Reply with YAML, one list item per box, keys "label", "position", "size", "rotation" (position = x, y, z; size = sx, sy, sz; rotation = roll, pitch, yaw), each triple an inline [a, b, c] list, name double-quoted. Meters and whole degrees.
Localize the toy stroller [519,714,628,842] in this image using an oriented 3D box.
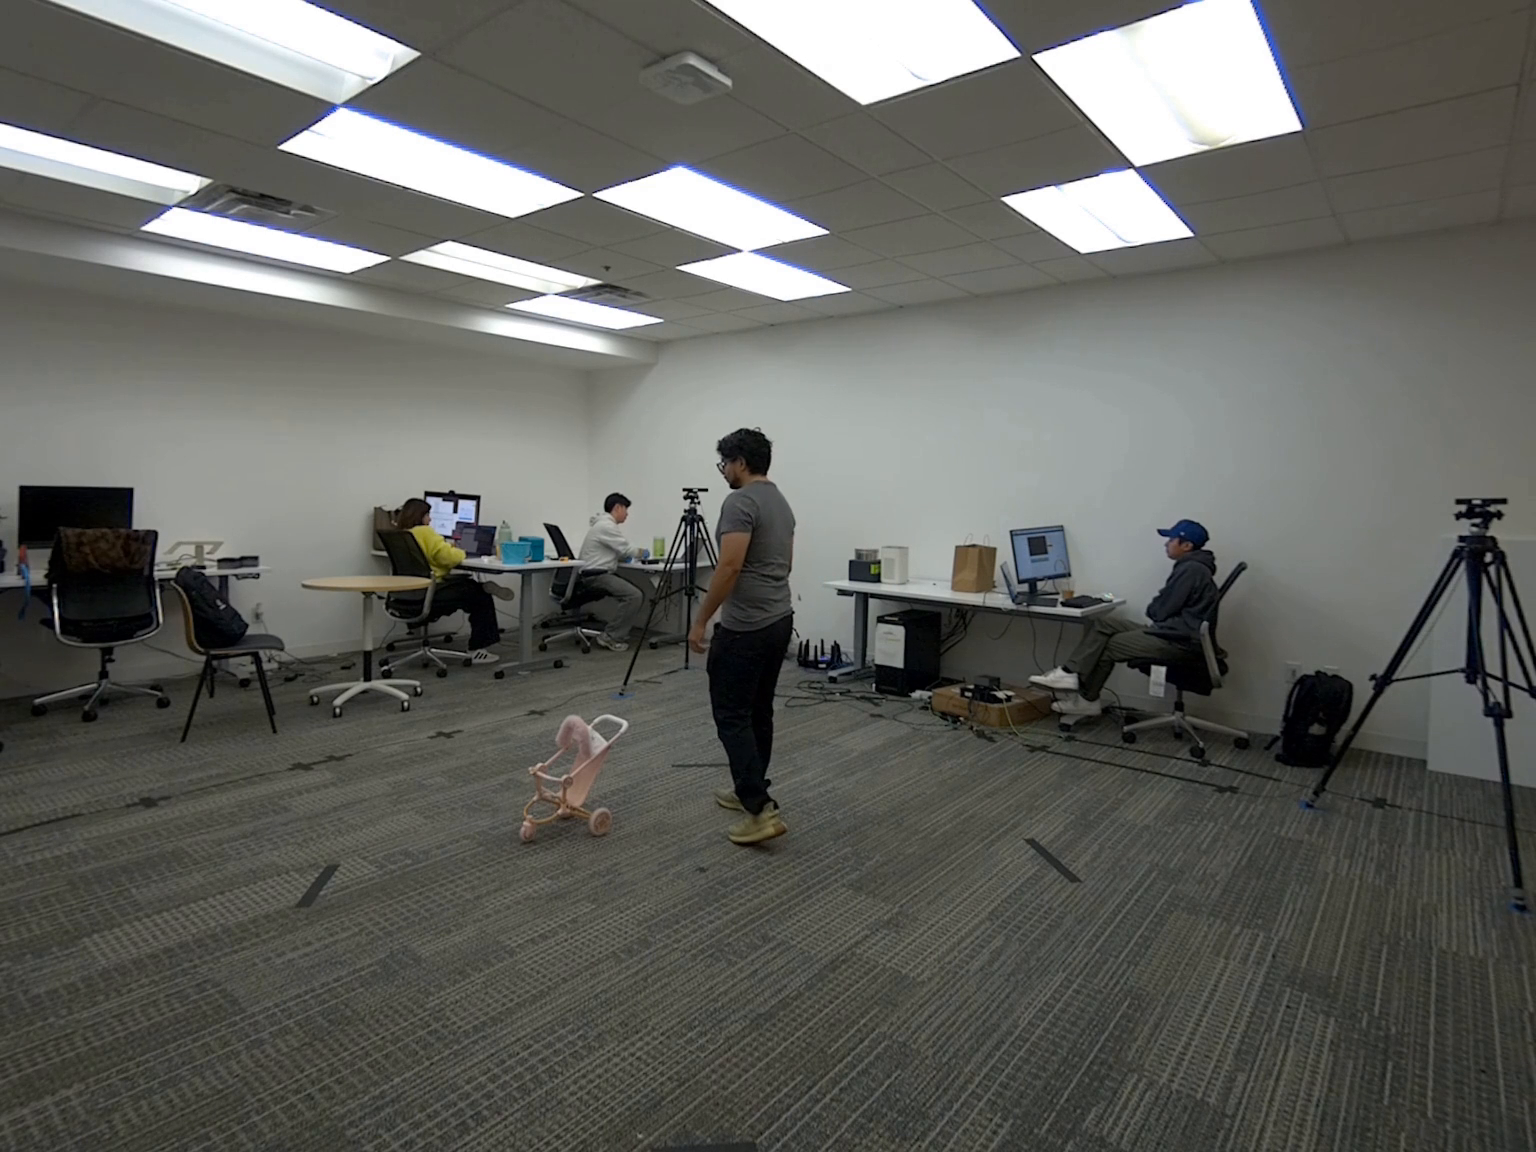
- label: "toy stroller"
  position: [-0.816, 0.806, 3.450]
  size: [0.328, 0.538, 0.291]
  rotation: [20, -10, -40]
